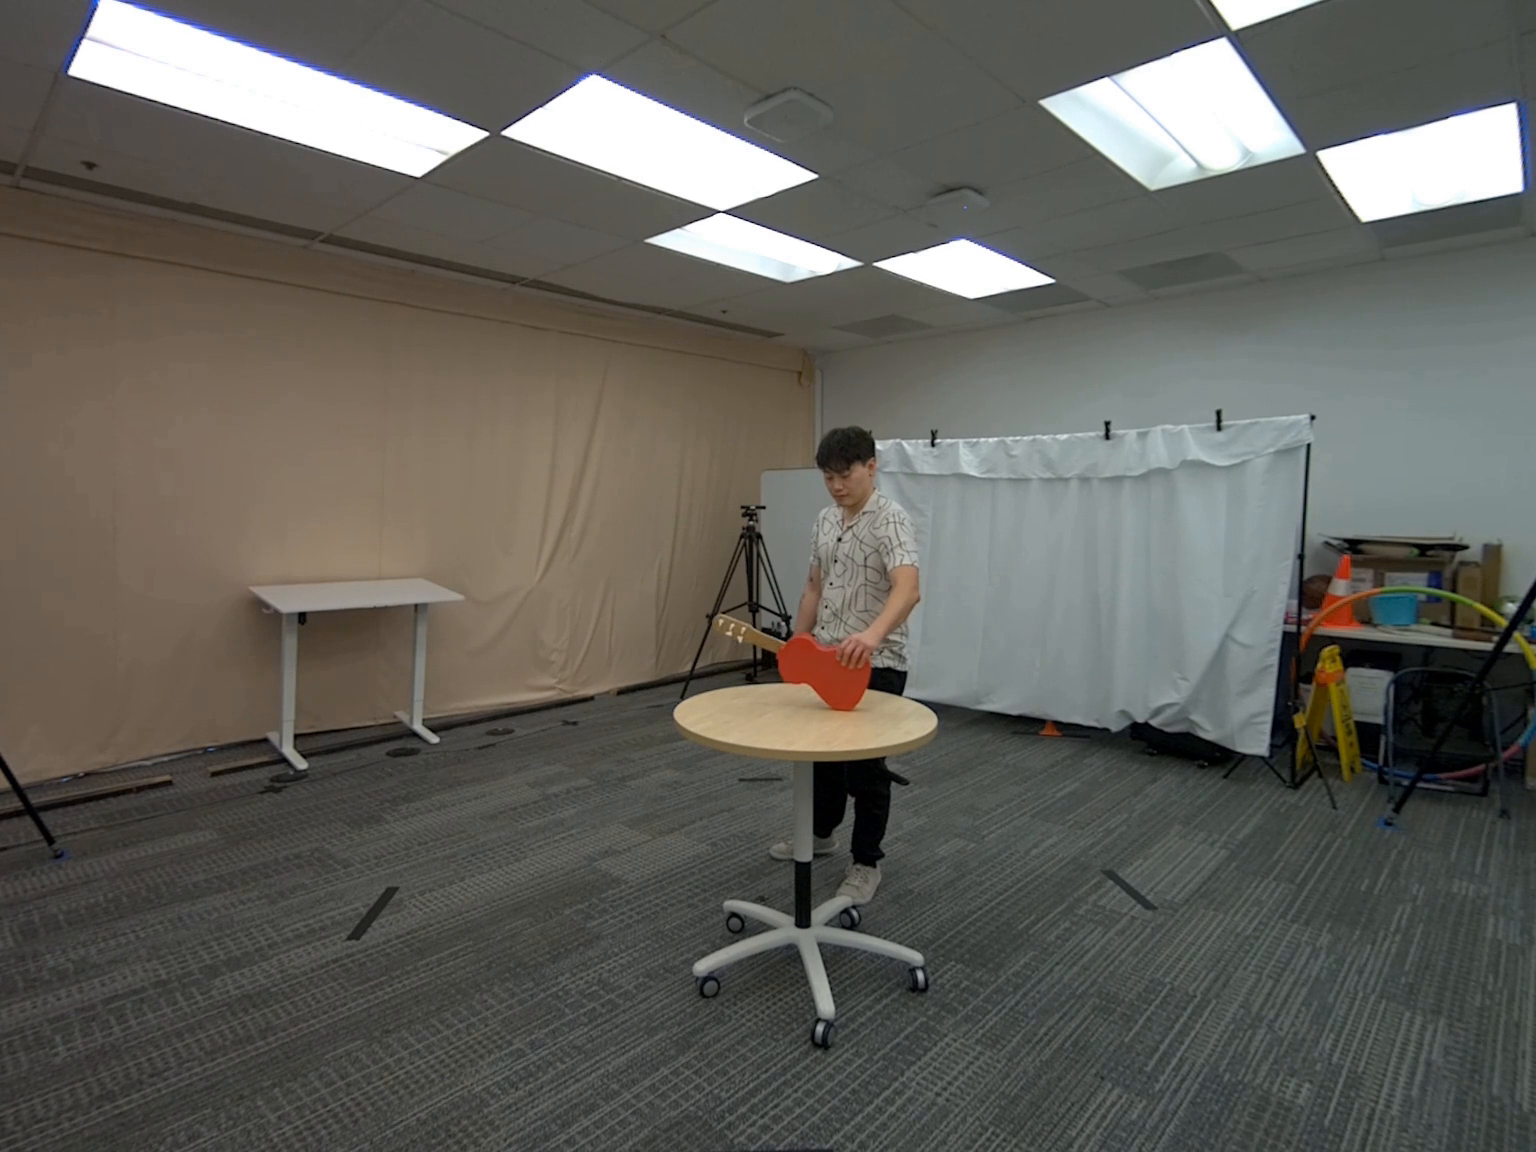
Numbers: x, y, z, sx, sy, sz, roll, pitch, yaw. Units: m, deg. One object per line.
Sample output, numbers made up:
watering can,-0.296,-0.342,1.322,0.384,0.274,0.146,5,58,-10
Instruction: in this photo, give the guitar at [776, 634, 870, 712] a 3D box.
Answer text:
guitar,0.066,0.263,2.535,0.506,0.192,0.070,12,11,13
